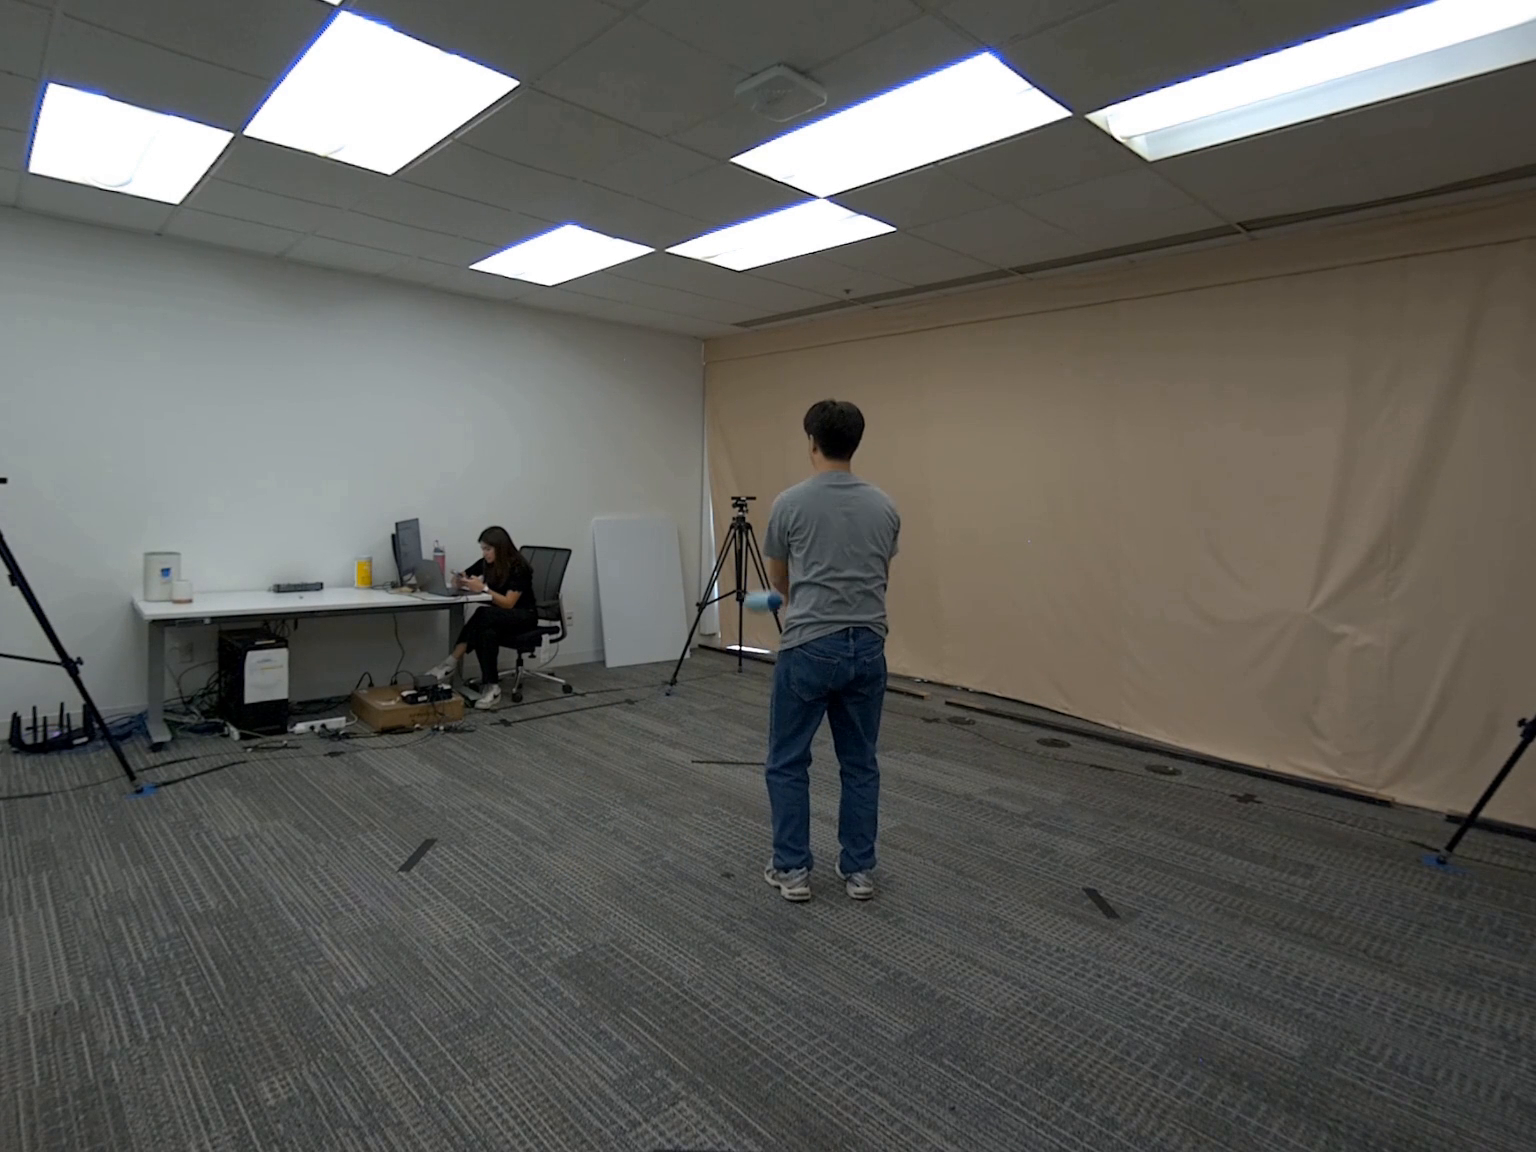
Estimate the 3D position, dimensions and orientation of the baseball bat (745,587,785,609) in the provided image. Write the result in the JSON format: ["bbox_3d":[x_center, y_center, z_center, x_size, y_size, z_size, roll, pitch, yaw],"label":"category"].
[{"bbox_3d":[0.054,0.086,3.502,0.087,0.089,0.551,0,-2,-24],"label":"baseball bat"}]
